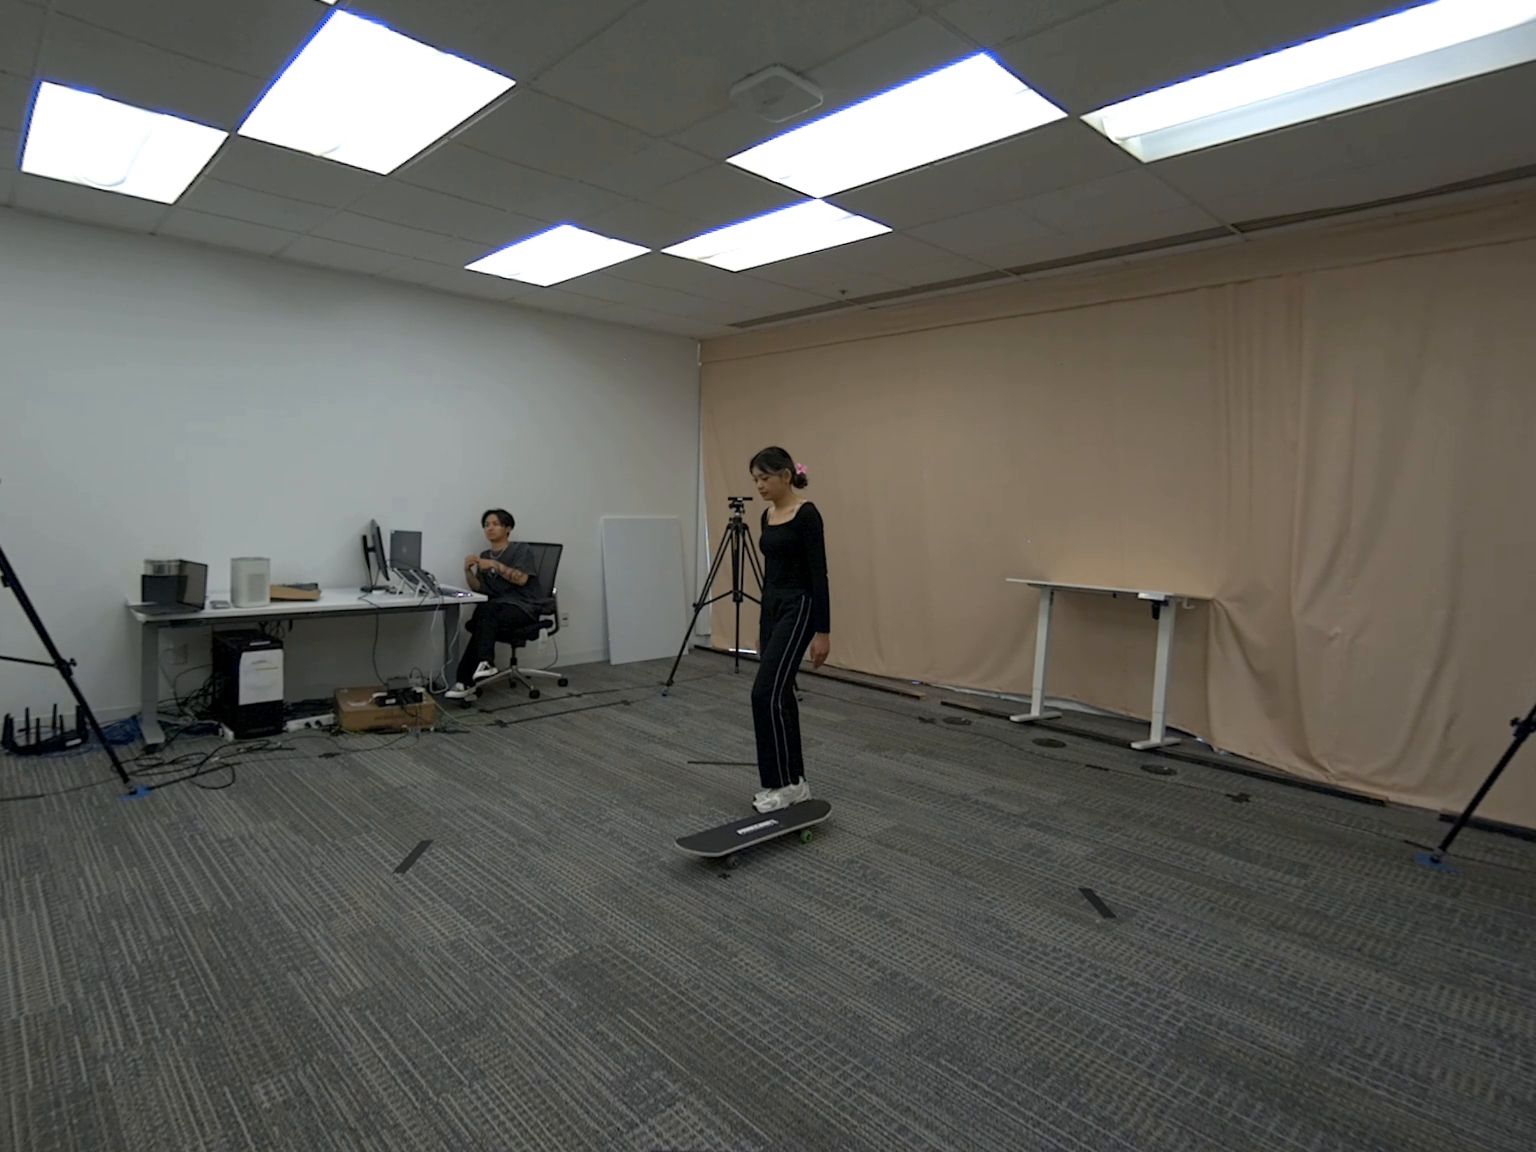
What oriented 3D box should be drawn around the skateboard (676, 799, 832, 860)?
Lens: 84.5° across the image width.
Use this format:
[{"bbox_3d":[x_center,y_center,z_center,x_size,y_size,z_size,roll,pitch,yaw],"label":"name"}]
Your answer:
[{"bbox_3d":[-0.047,1.032,3.353,0.768,0.110,0.198,-3,7,-43],"label":"skateboard"}]
